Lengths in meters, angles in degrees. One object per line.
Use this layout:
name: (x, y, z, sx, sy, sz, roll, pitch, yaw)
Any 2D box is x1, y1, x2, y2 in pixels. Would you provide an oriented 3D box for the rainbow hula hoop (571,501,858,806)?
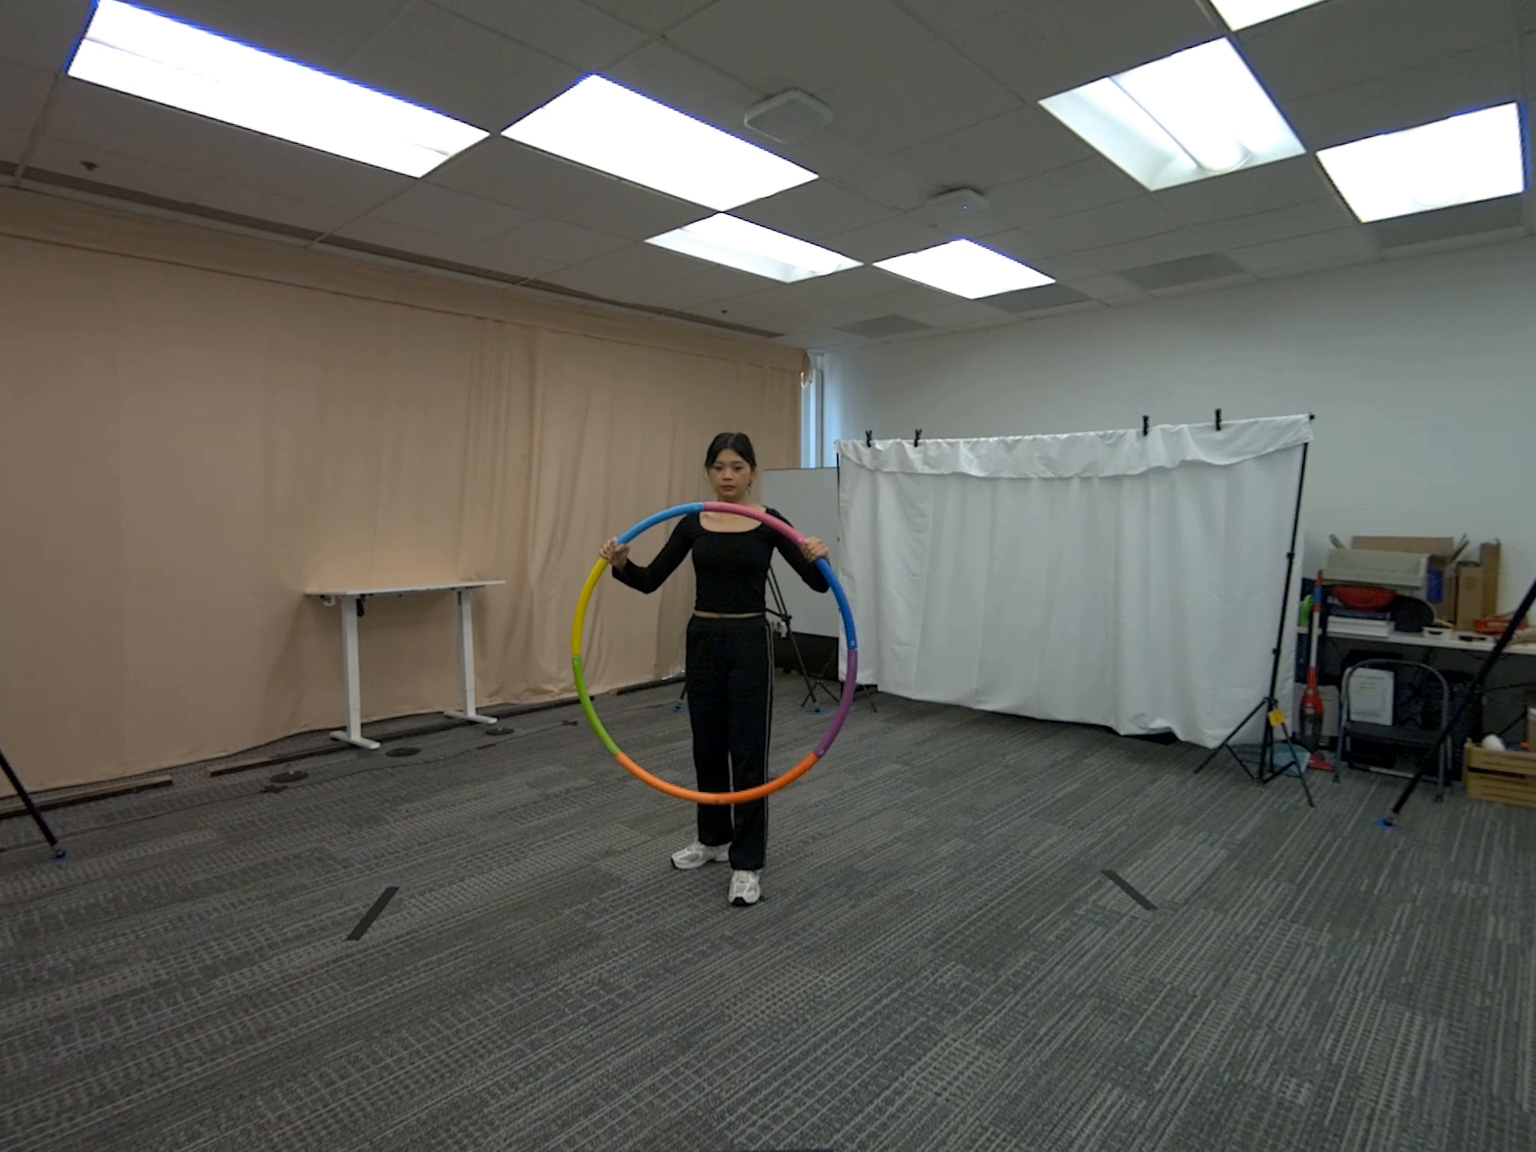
rainbow hula hoop: (-0.186, 0.255, 2.801, 0.991, 0.979, 0.035, 1, -1, 12)
